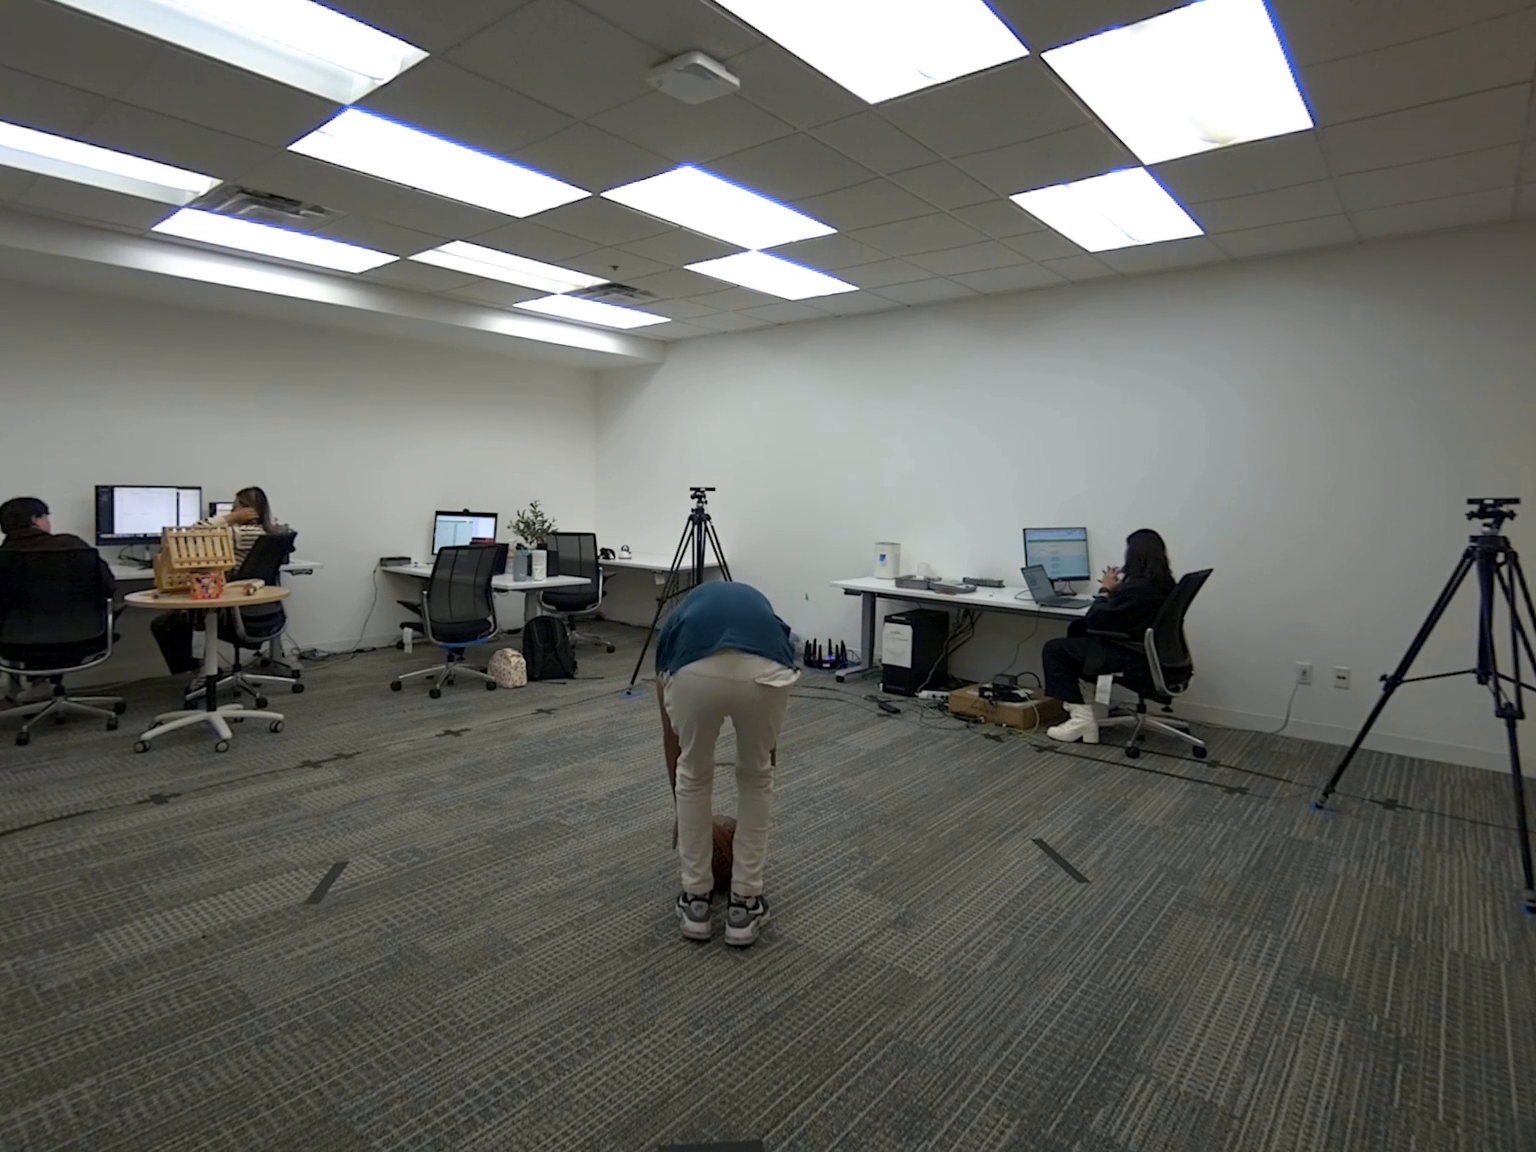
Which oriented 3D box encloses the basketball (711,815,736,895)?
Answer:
[{"bbox_3d":[-0.178,0.949,2.974,0.235,0.235,0.237,1,4,-2],"label":"basketball"}]
